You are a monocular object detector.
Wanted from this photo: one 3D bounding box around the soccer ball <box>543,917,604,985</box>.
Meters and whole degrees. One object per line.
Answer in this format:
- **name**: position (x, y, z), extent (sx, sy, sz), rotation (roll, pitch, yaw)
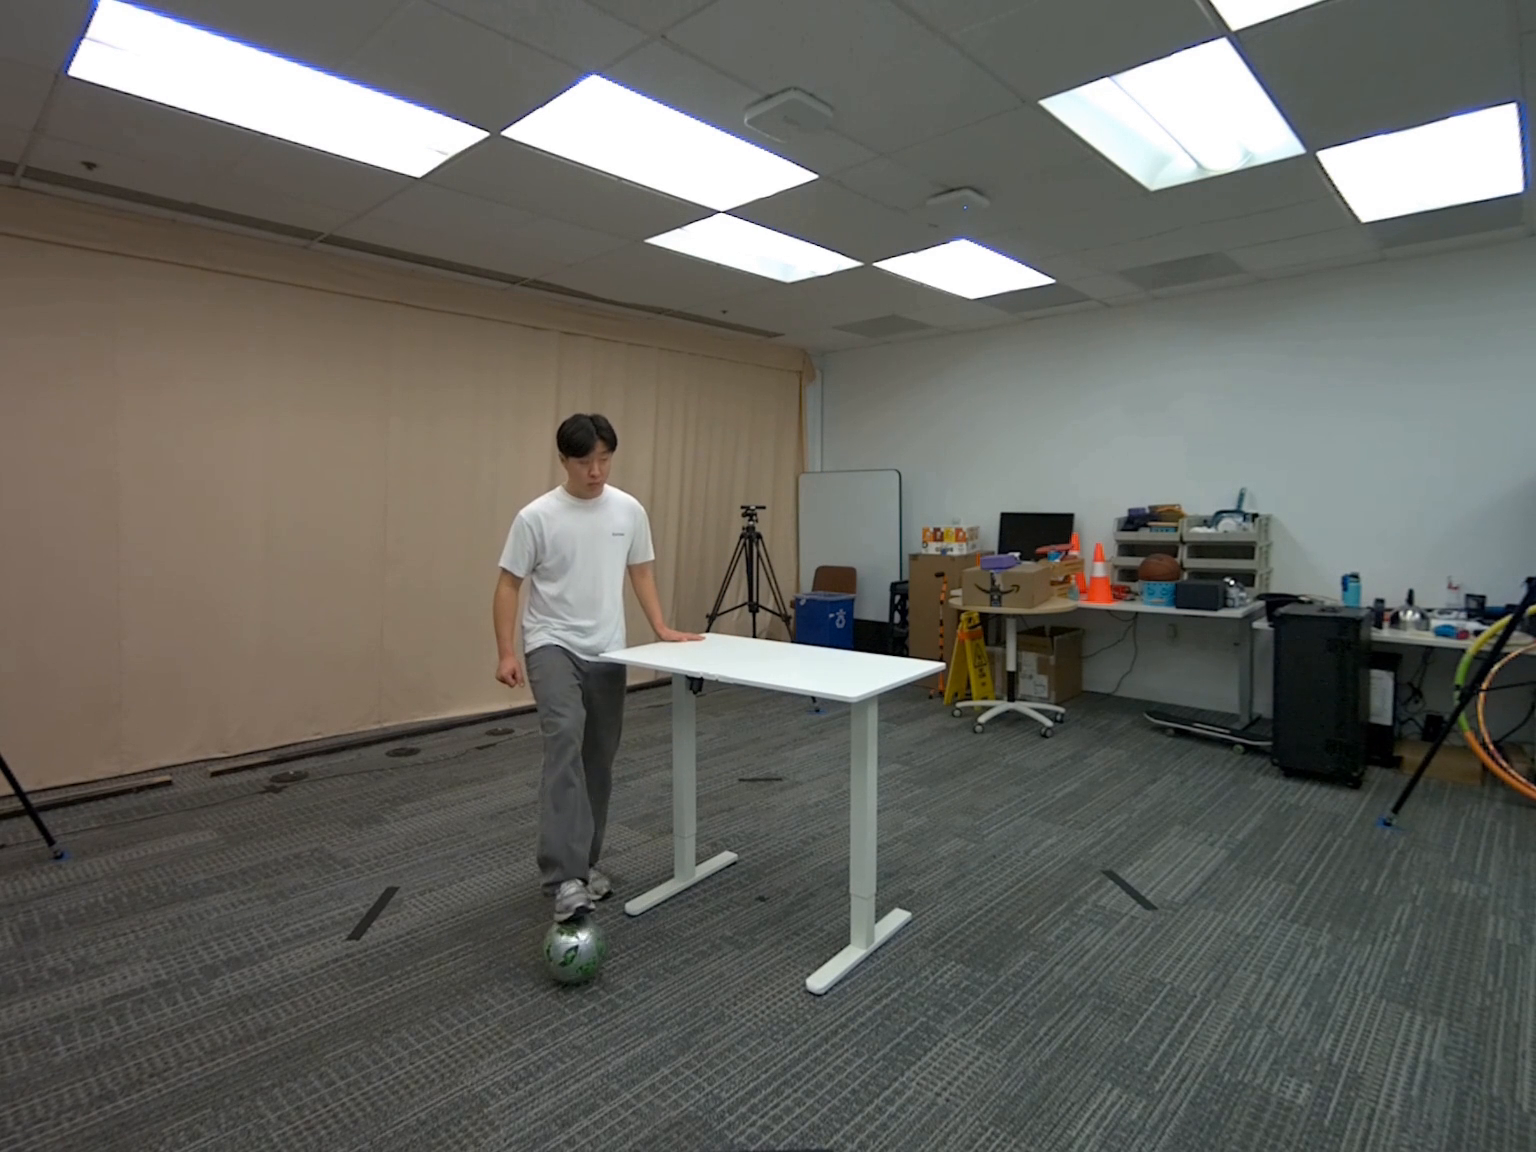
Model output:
- **soccer ball**: position (-0.574, 1.100, 2.488), extent (0.187, 0.187, 0.188), rotation (0, 4, -2)
